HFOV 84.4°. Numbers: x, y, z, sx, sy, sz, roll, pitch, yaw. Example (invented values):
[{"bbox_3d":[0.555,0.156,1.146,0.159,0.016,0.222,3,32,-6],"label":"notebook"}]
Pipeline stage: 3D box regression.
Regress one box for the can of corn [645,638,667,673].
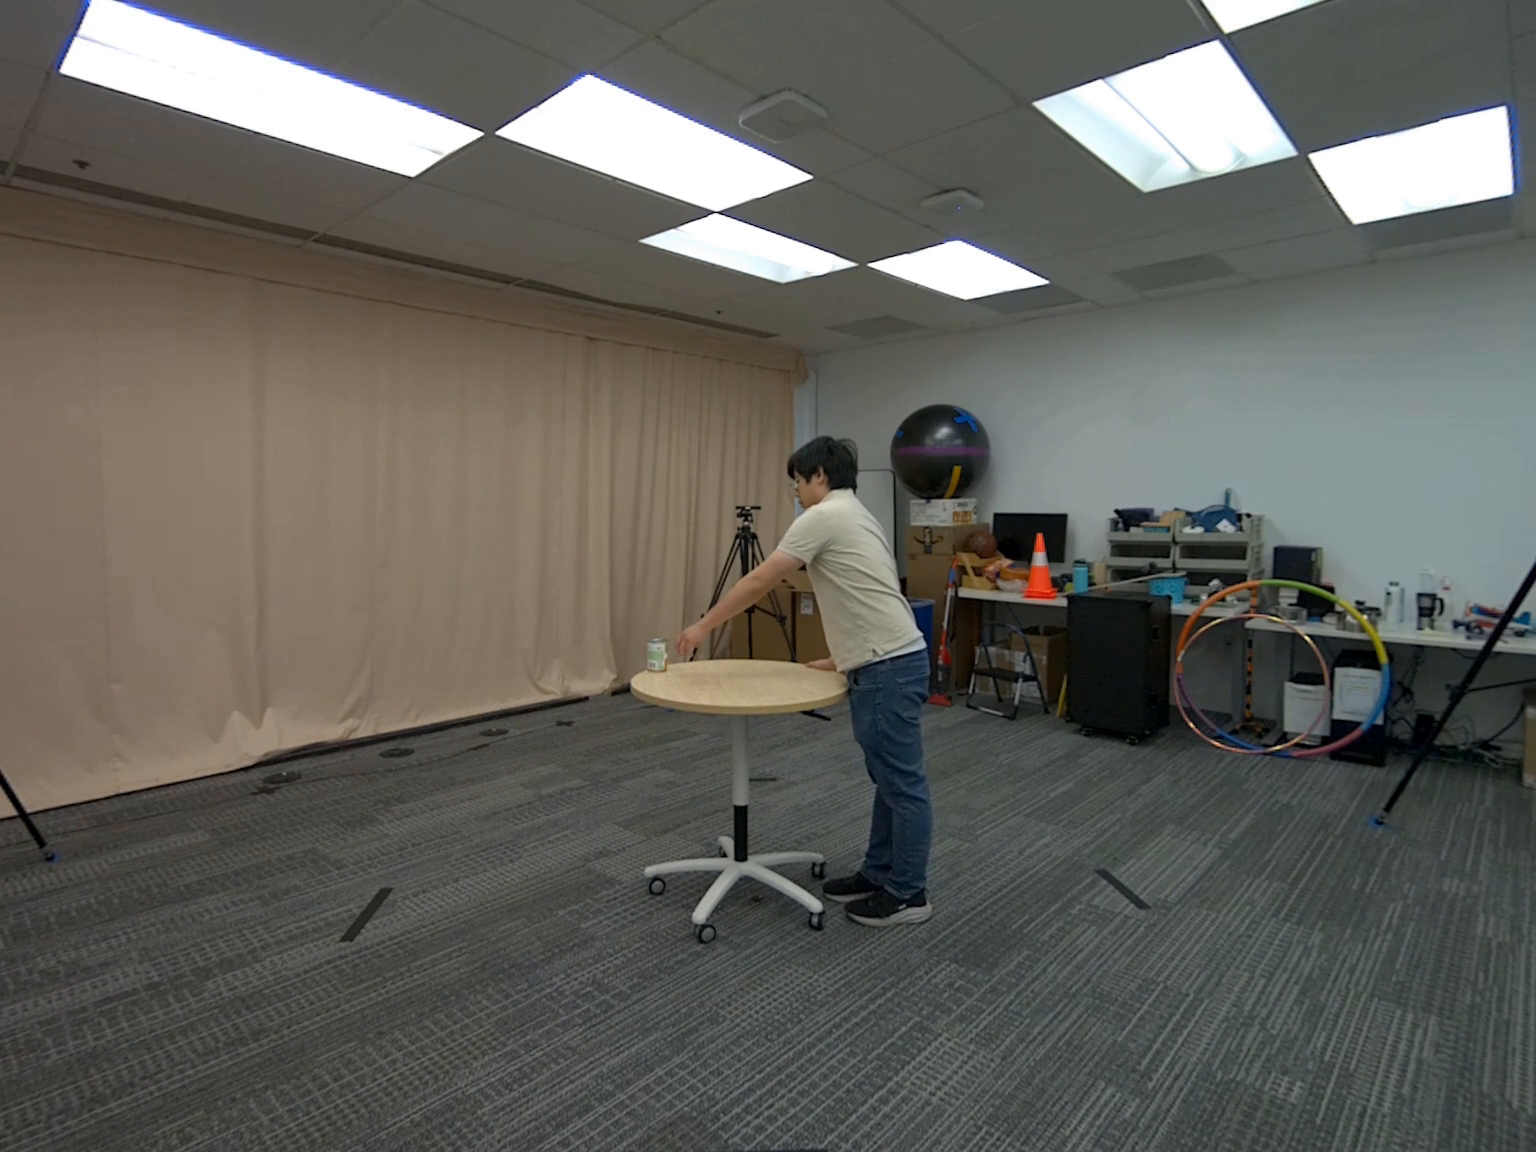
[{"bbox_3d":[-0.407,0.296,3.116,0.074,0.111,0.074,3,1,-2],"label":"can of corn"}]
